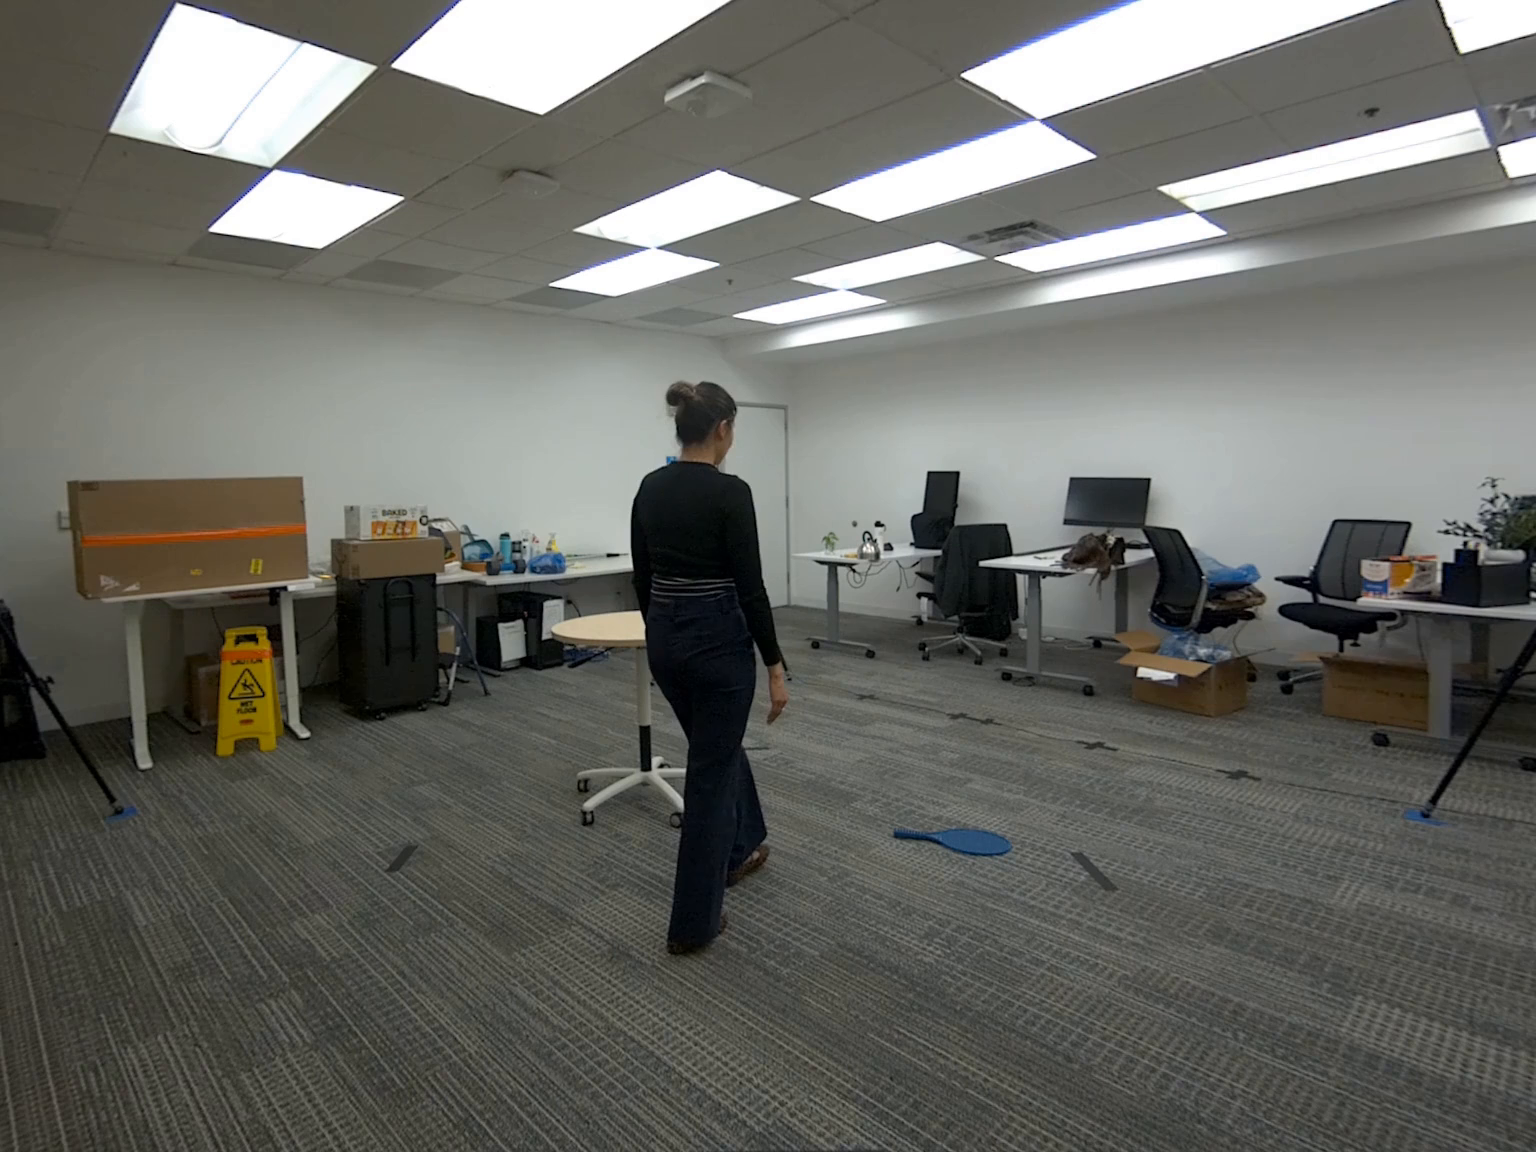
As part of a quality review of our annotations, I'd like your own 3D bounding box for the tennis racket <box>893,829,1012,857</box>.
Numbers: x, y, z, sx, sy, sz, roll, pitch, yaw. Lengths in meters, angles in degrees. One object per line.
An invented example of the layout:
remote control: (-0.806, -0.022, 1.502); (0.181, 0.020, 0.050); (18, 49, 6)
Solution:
tennis racket: (0.693, 0.999, 3.253); (0.438, 0.031, 0.212); (2, 7, 12)
